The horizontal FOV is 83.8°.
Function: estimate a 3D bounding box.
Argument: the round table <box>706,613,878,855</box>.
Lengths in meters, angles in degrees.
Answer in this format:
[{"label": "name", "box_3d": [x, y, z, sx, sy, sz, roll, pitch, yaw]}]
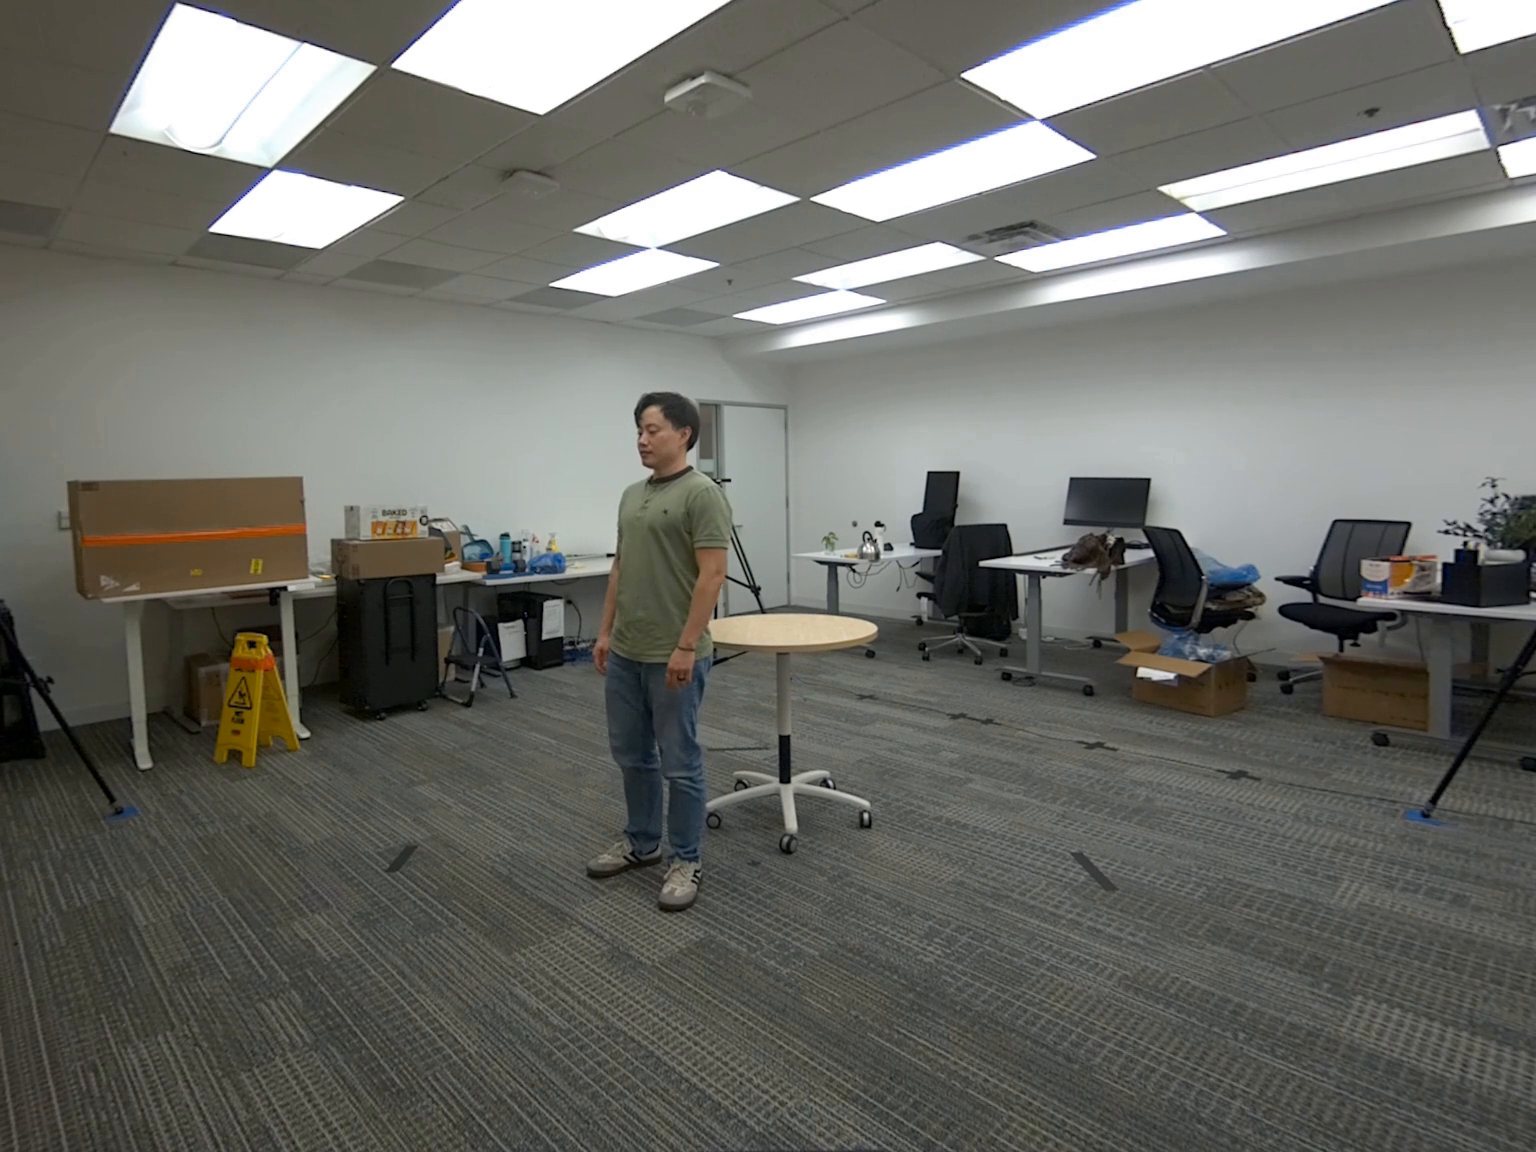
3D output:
[{"label": "round table", "box_3d": [0.064, 0.606, 3.516, 0.763, 0.791, 0.767, -1, 4, -2]}]
